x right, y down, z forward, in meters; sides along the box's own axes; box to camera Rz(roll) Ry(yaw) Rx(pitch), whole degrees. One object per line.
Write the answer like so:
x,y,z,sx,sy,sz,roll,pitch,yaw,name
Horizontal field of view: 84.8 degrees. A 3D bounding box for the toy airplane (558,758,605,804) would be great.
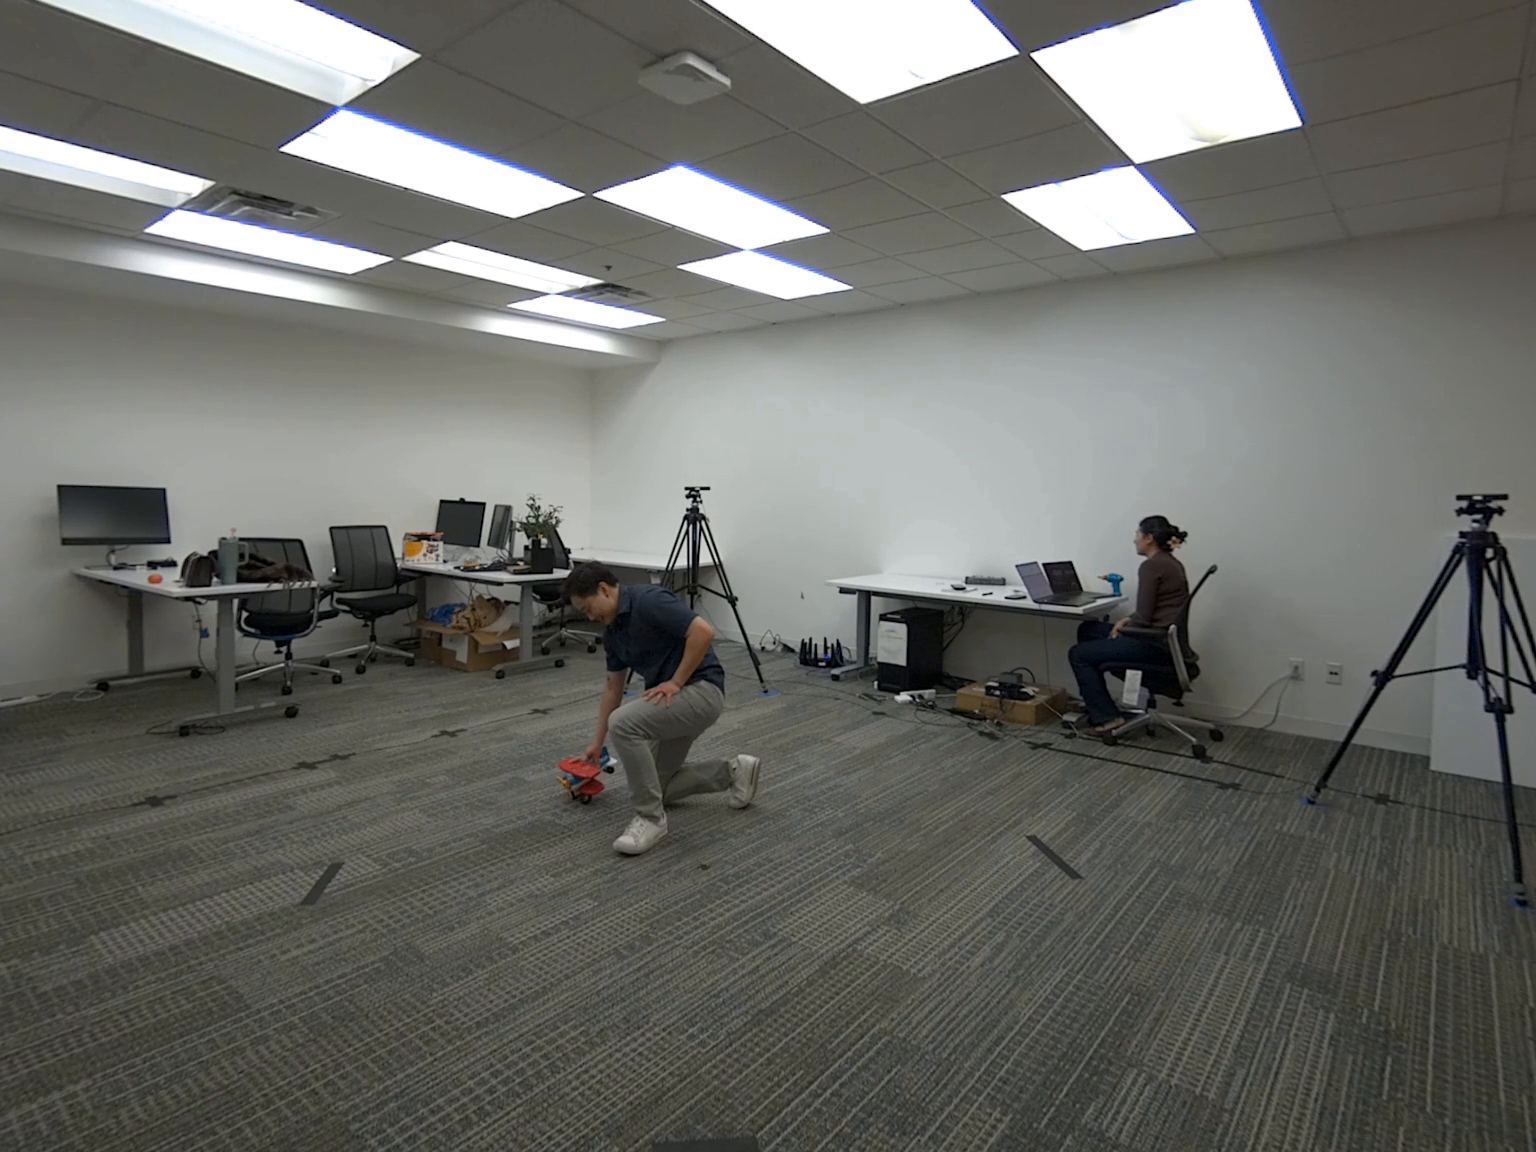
-0.831,0.883,3.811,0.255,0.152,0.263,-13,28,18,toy airplane
